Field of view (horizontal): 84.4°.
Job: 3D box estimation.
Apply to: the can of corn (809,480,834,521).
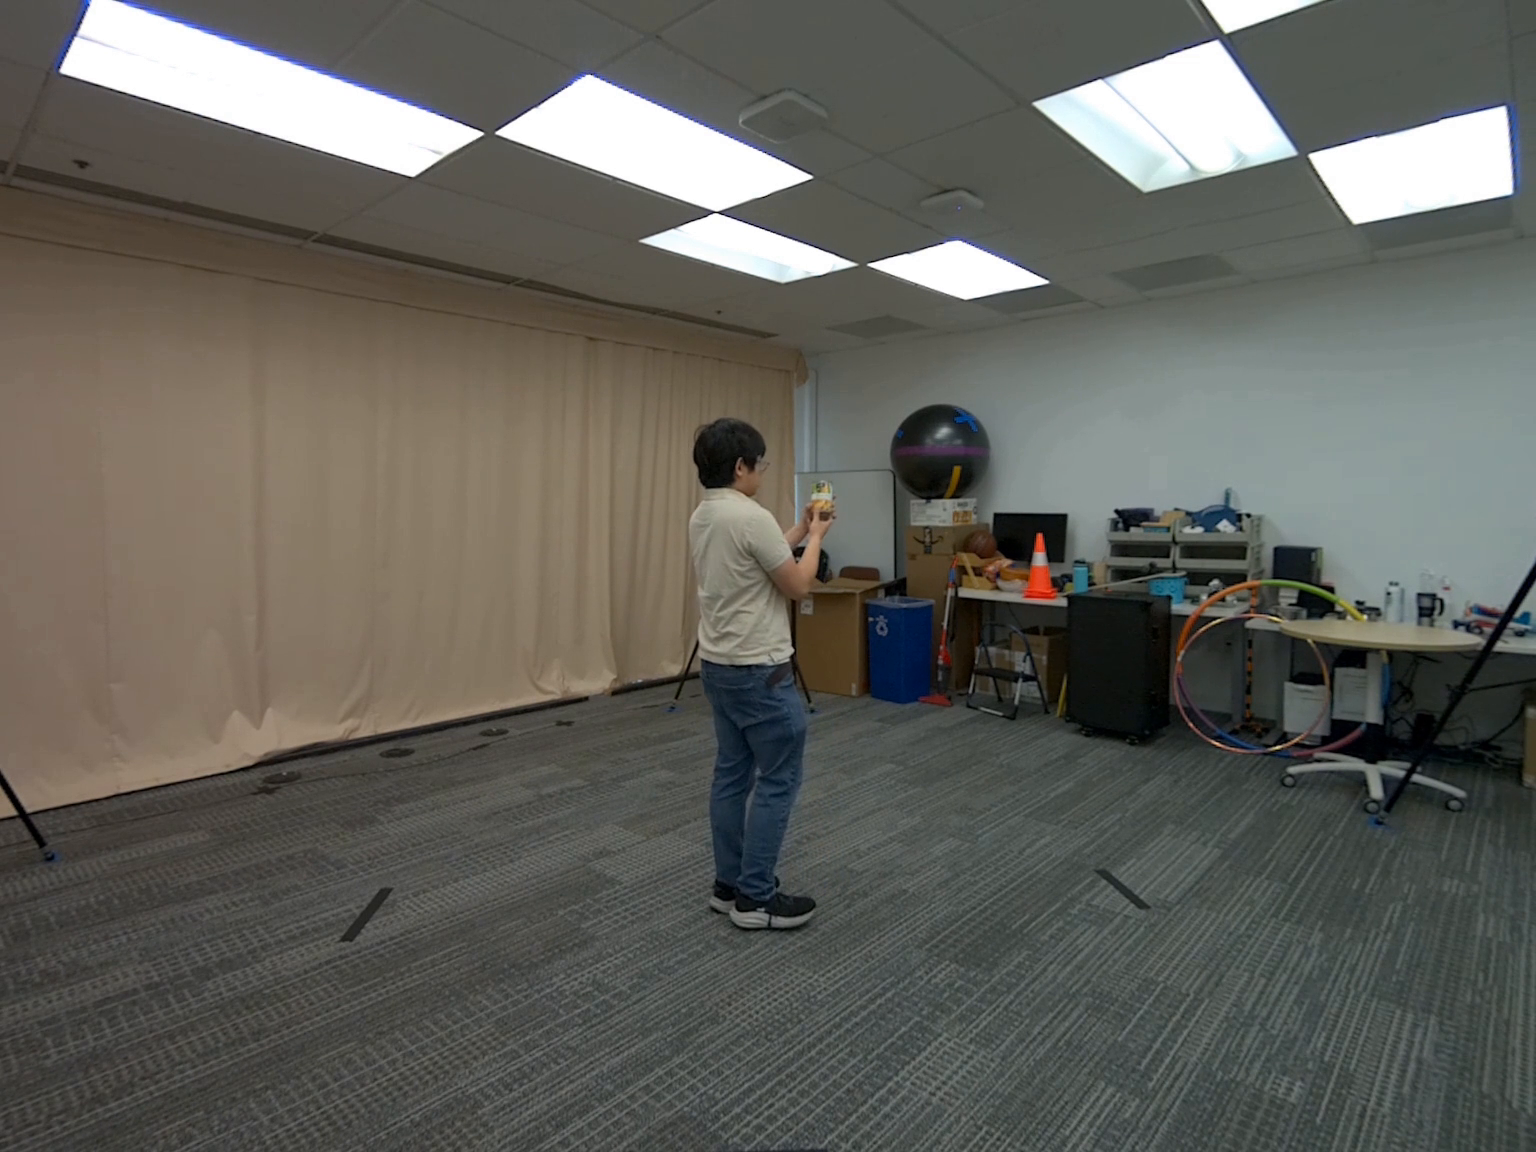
[{"bbox_3d":[0.197,-0.277,3.008,0.074,0.111,0.074,5,-4,-2],"label":"can of corn"}]
